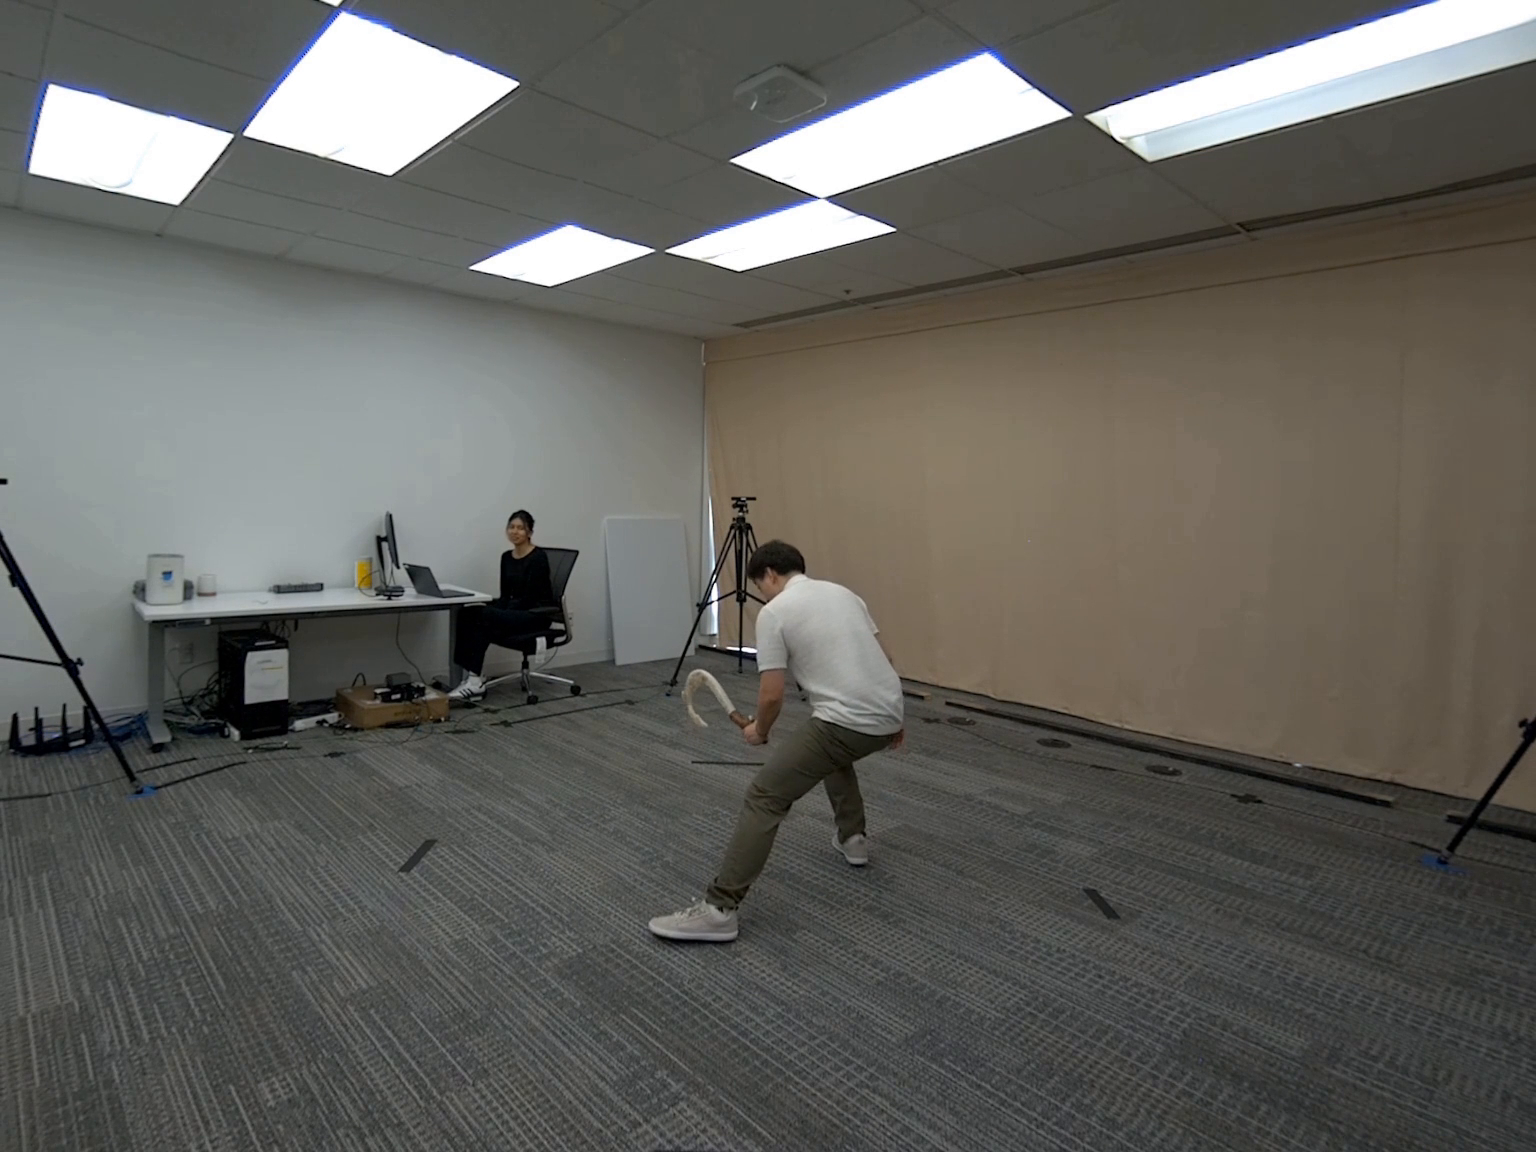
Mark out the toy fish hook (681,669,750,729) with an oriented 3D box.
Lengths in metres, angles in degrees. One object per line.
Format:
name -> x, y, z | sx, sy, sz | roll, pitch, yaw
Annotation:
toy fish hook -> -0.191, 0.567, 3.424 | 0.047, 0.223, 0.523 | 0, 26, -43
